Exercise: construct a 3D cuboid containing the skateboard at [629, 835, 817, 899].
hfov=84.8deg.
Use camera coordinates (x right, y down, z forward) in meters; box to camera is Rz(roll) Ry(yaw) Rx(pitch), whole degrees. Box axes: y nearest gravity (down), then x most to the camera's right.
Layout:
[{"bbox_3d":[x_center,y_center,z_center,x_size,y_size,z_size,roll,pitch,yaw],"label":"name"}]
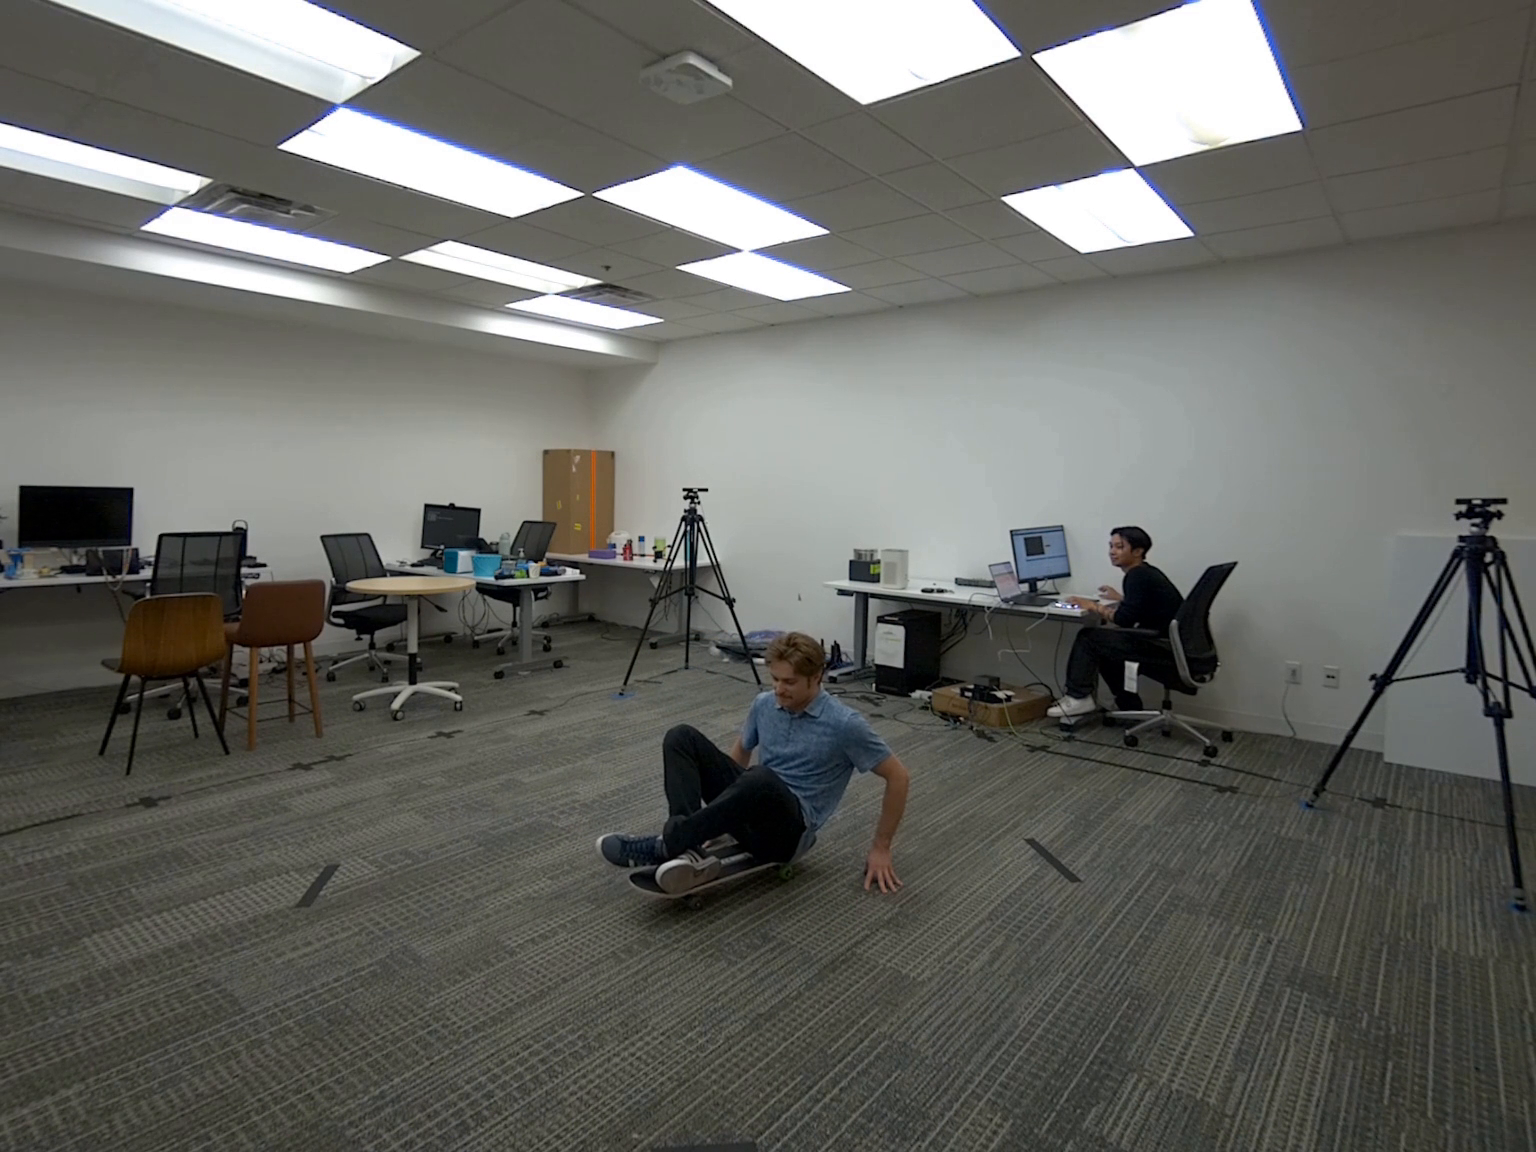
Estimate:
[{"bbox_3d":[-0.142,1.039,2.980,0.762,0.110,0.200,-3,7,-39],"label":"skateboard"}]
